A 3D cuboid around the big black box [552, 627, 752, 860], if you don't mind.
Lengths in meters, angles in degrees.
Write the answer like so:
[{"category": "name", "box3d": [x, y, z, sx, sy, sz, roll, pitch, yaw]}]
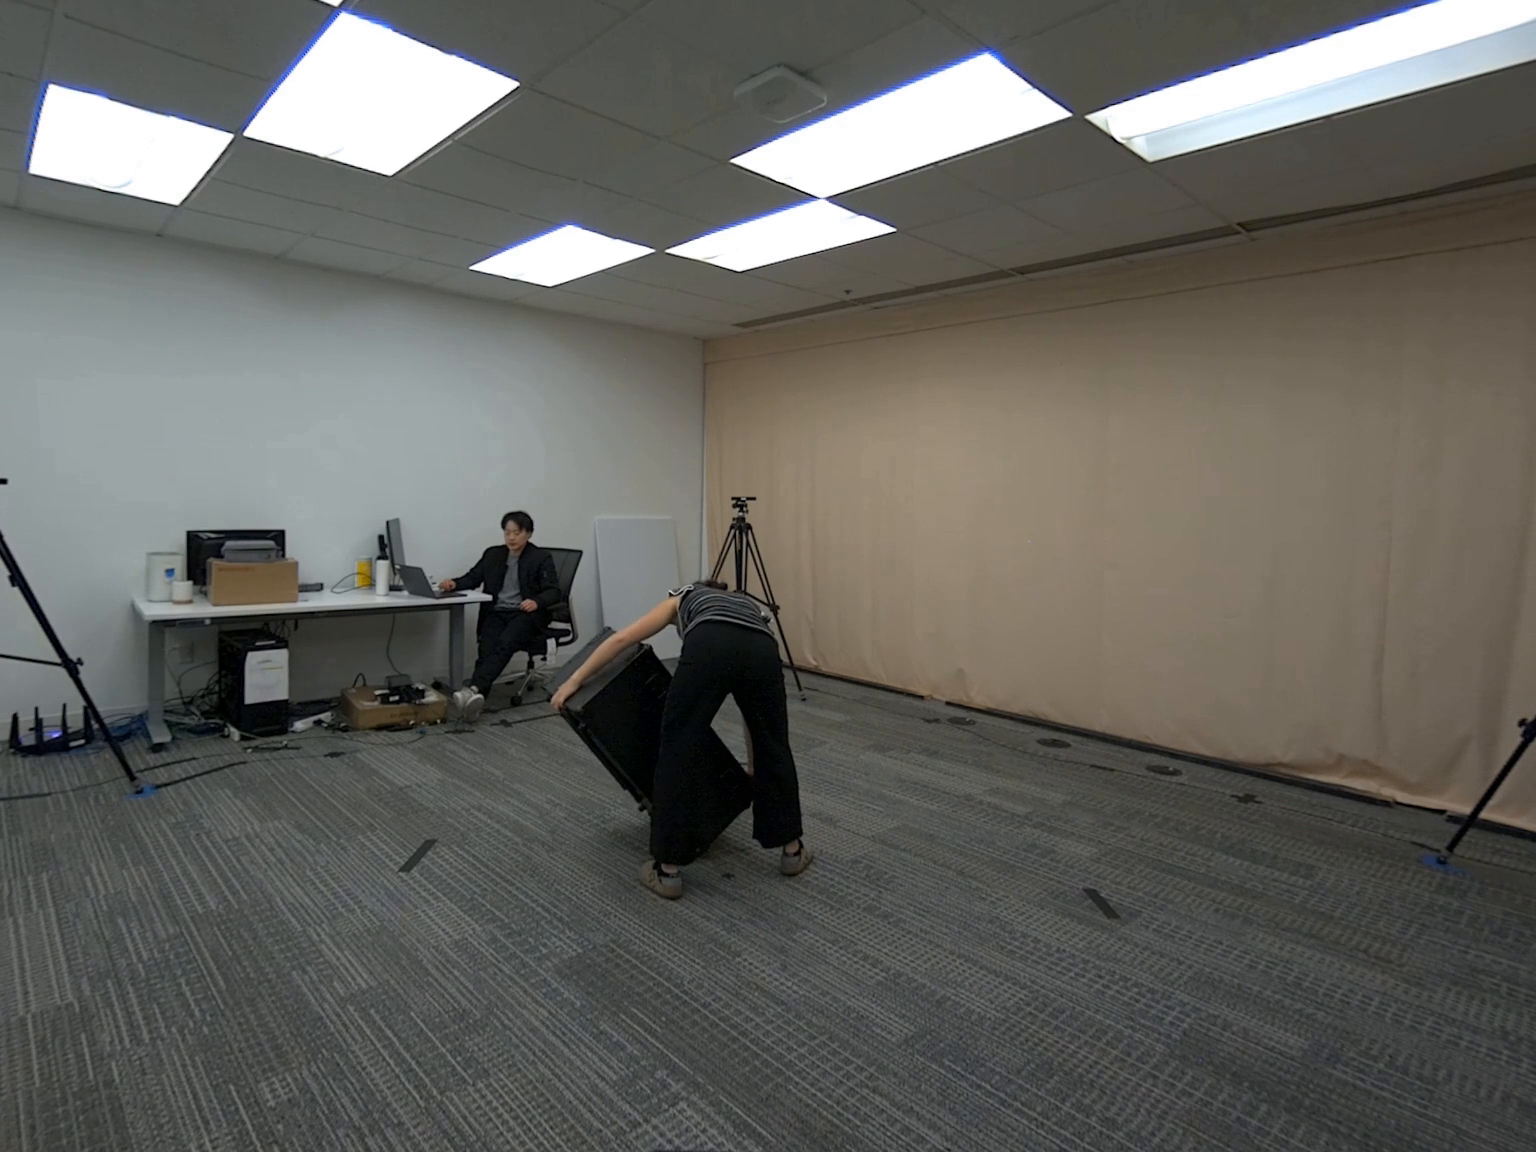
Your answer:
[{"category": "big black box", "box3d": [-0.472, 0.669, 3.356, 0.395, 0.844, 0.533, -43, 21, -18]}]
